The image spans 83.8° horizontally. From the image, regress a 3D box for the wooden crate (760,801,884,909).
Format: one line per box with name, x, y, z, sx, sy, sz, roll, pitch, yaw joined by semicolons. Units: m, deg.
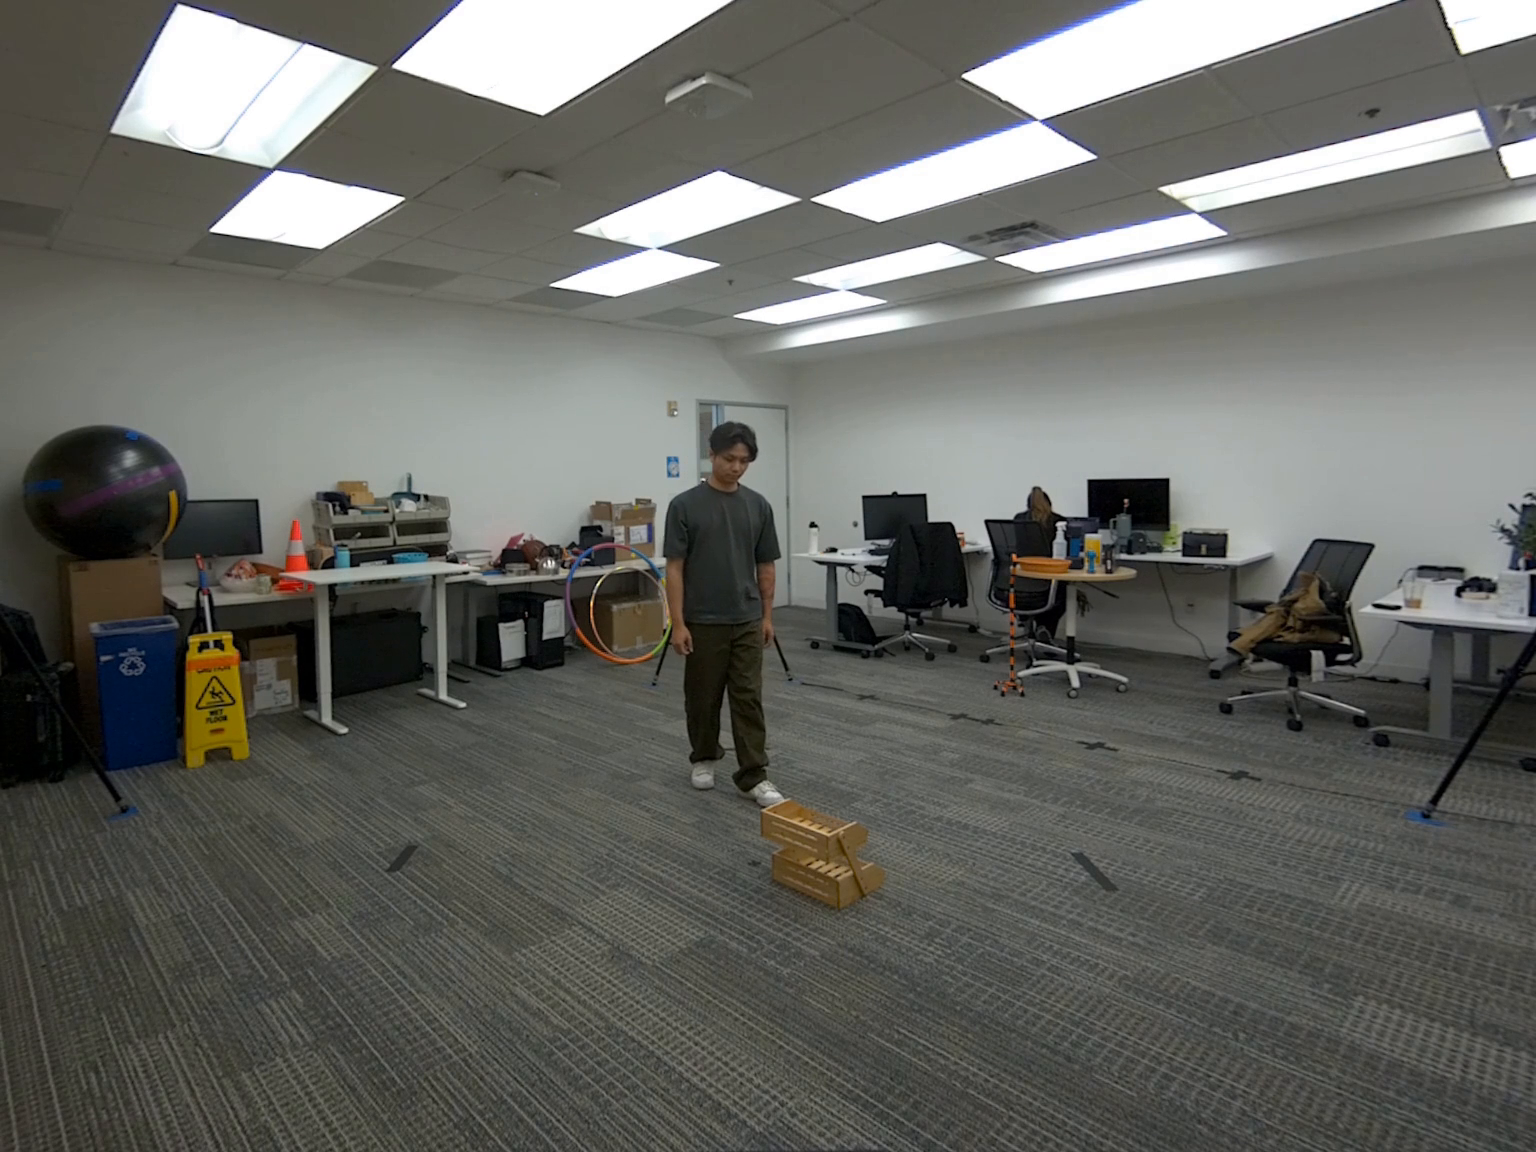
wooden crate;0.196;0.927;2.933;0.294;0.272;0.334;-6;7;-44
